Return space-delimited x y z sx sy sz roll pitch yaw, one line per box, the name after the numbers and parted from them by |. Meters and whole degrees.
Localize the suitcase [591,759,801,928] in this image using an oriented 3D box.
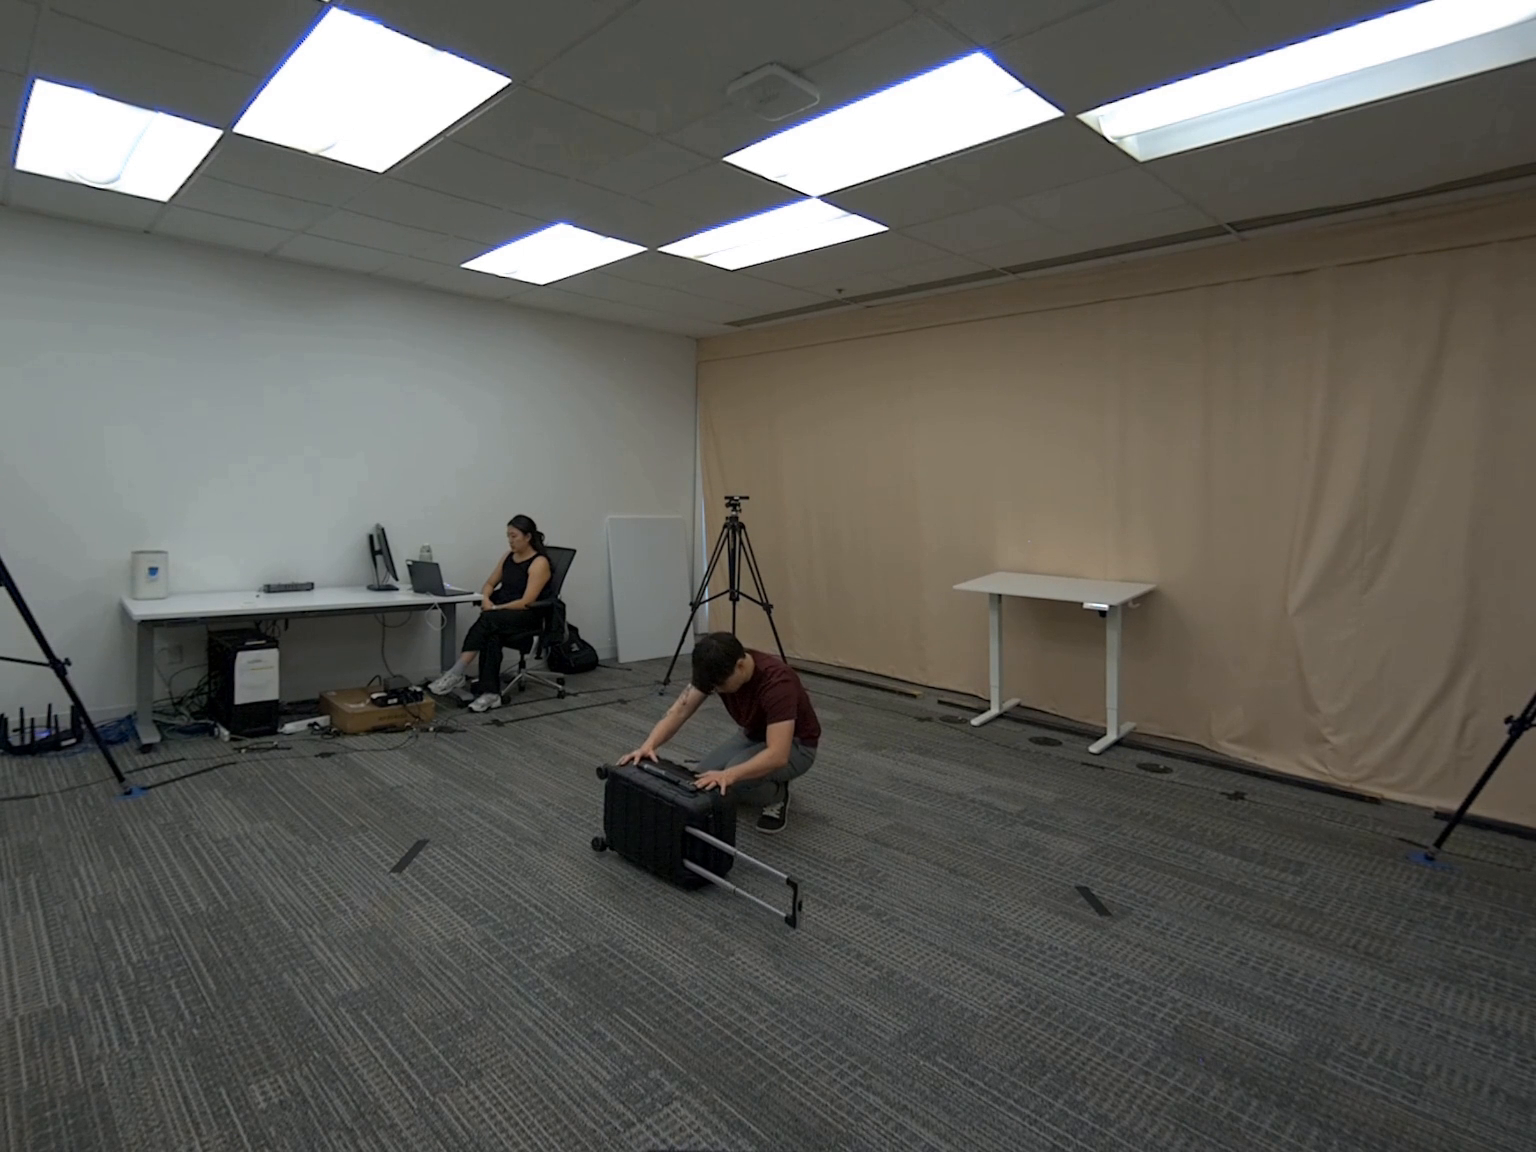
-0.228 0.935 3.009 1.005 0.382 0.251 9 9 40 | suitcase
